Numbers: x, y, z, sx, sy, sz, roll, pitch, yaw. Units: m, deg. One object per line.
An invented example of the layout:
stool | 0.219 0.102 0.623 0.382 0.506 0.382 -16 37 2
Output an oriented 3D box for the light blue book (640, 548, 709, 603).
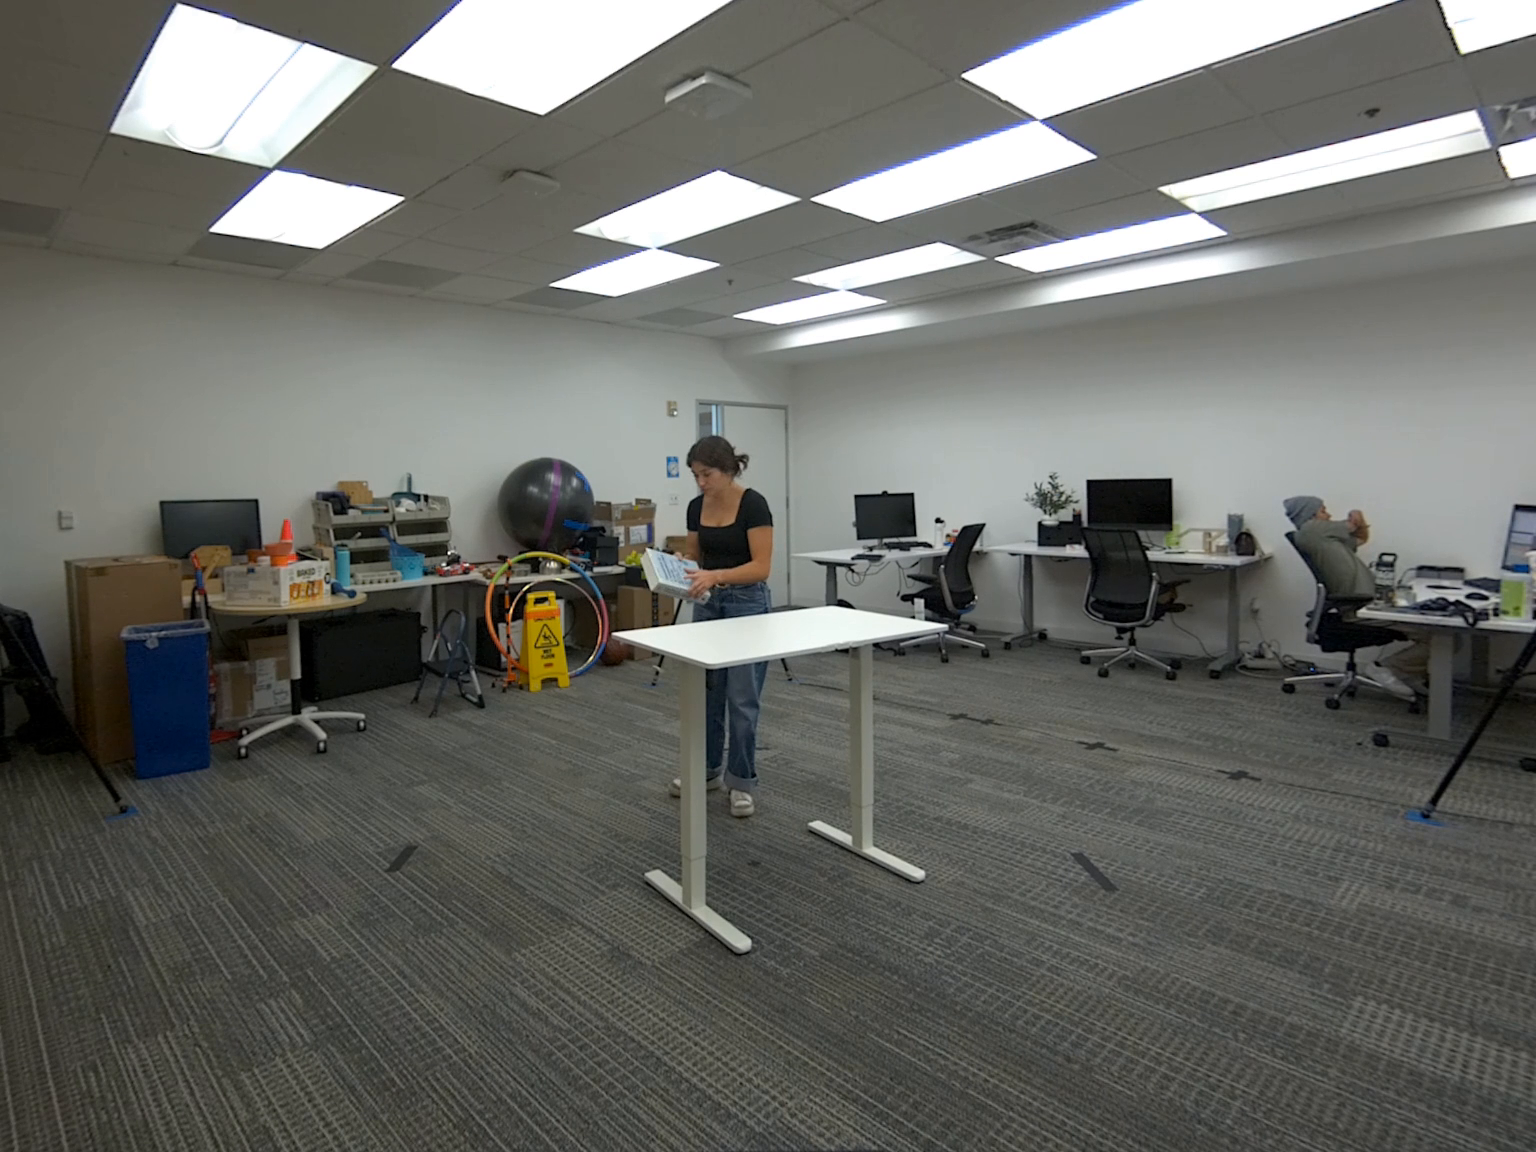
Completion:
light blue book | -0.373 0.005 3.386 0.252 0.059 0.198 17 35 -39
